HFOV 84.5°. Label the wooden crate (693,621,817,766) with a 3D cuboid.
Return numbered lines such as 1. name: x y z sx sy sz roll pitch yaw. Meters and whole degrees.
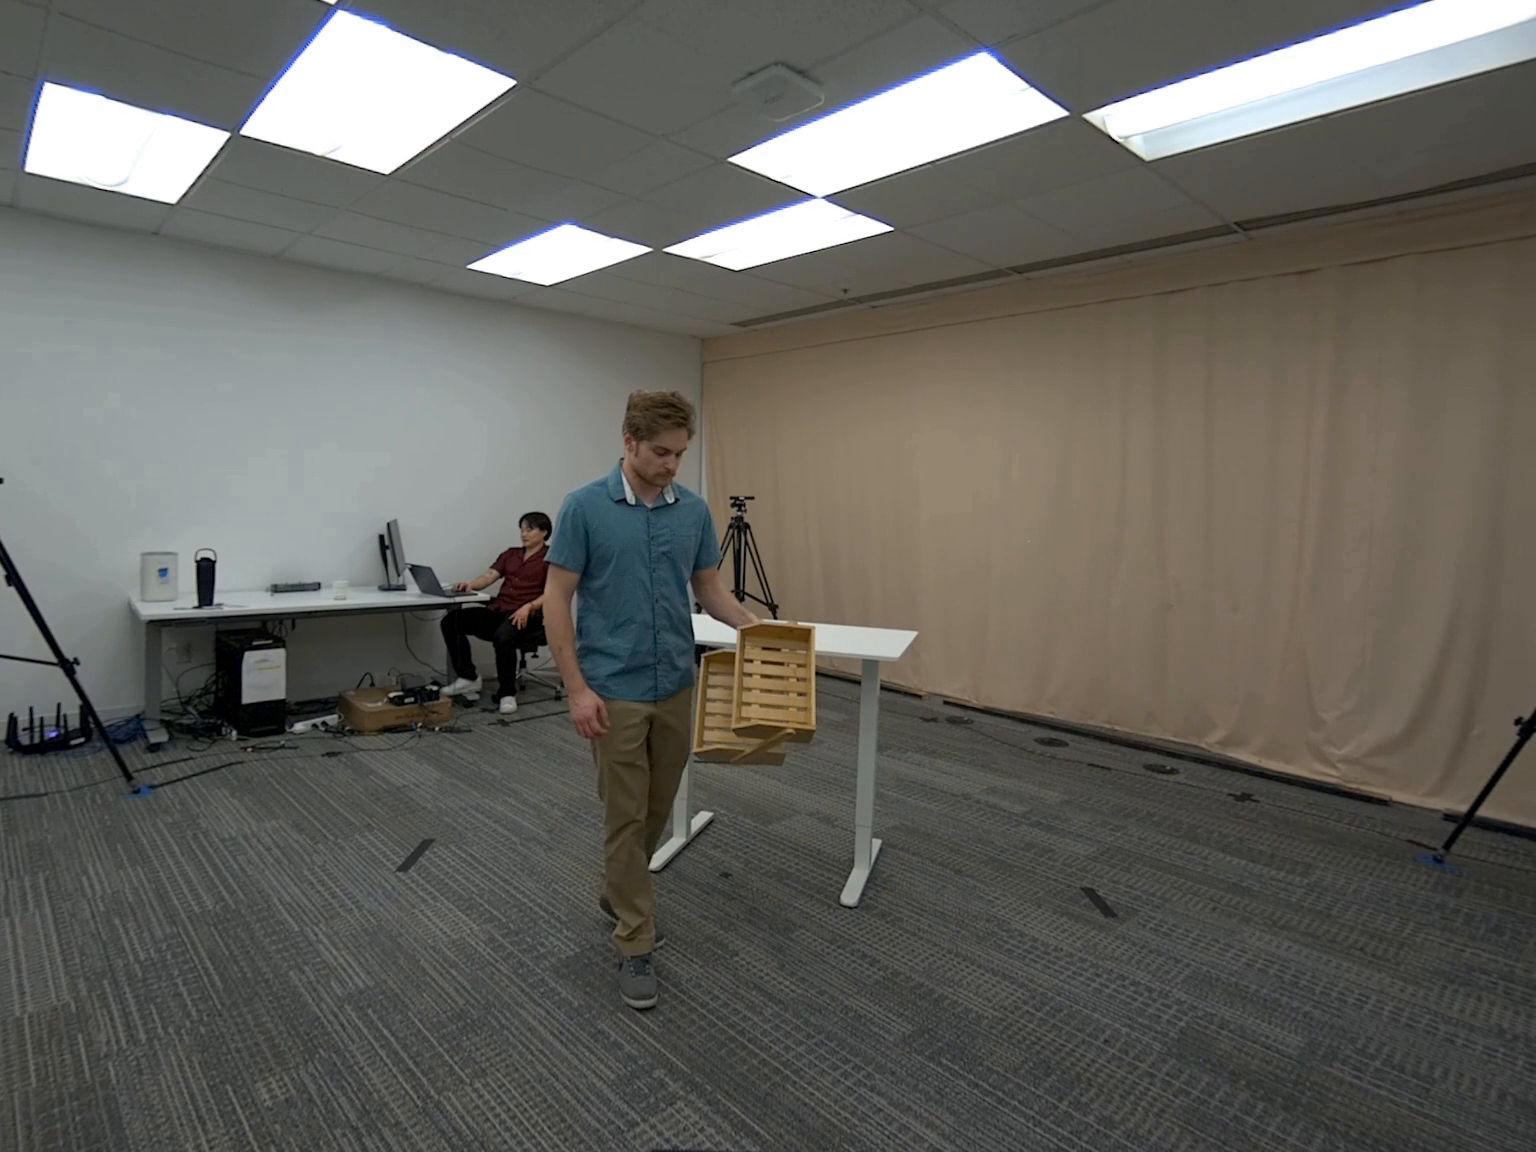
1. wooden crate: -0.049 0.320 2.286 0.301 0.331 0.268 4 -35 -4
